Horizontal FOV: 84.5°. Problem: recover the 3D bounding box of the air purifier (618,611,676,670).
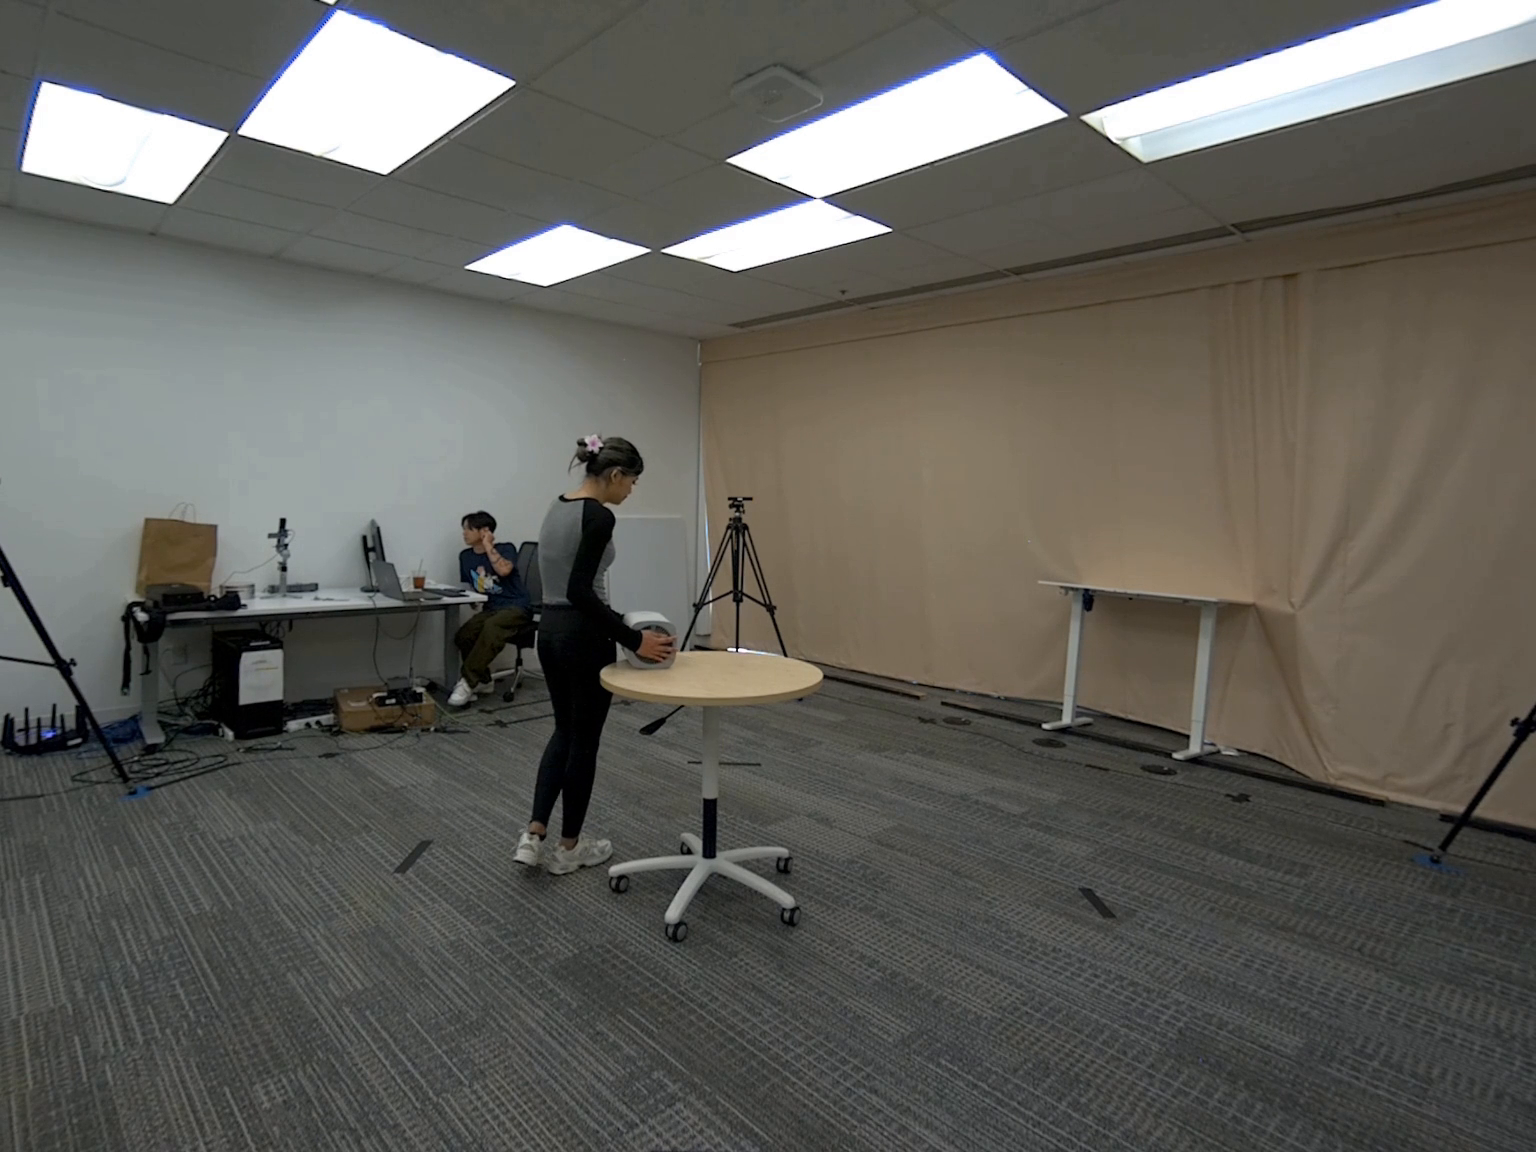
[{"bbox_3d":[-0.448,0.228,3.059,0.169,0.171,0.269,1,4,-15],"label":"air purifier"}]
